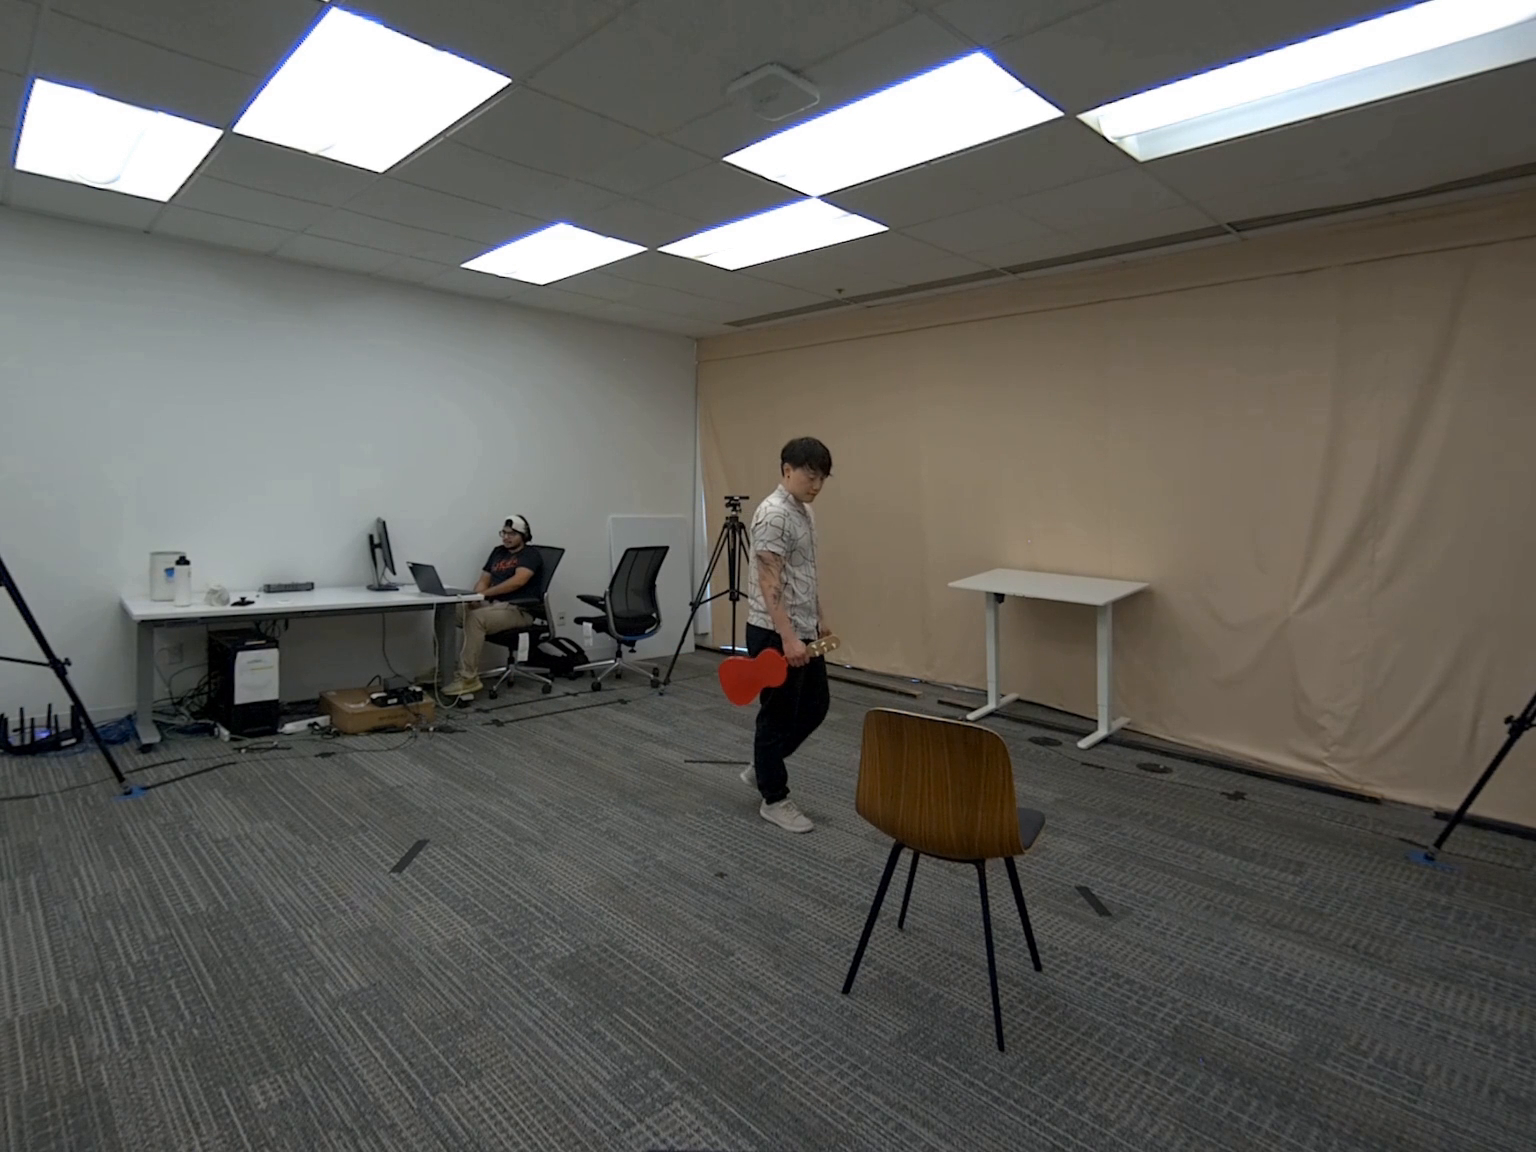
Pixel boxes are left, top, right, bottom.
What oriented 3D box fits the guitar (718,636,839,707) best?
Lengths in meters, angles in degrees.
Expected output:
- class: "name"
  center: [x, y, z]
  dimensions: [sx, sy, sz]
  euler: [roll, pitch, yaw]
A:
- class: "guitar"
  center: [0.021, 0.327, 3.350]
  dimensions: [0.499, 0.193, 0.070]
  euler: [-30, -1, 11]
